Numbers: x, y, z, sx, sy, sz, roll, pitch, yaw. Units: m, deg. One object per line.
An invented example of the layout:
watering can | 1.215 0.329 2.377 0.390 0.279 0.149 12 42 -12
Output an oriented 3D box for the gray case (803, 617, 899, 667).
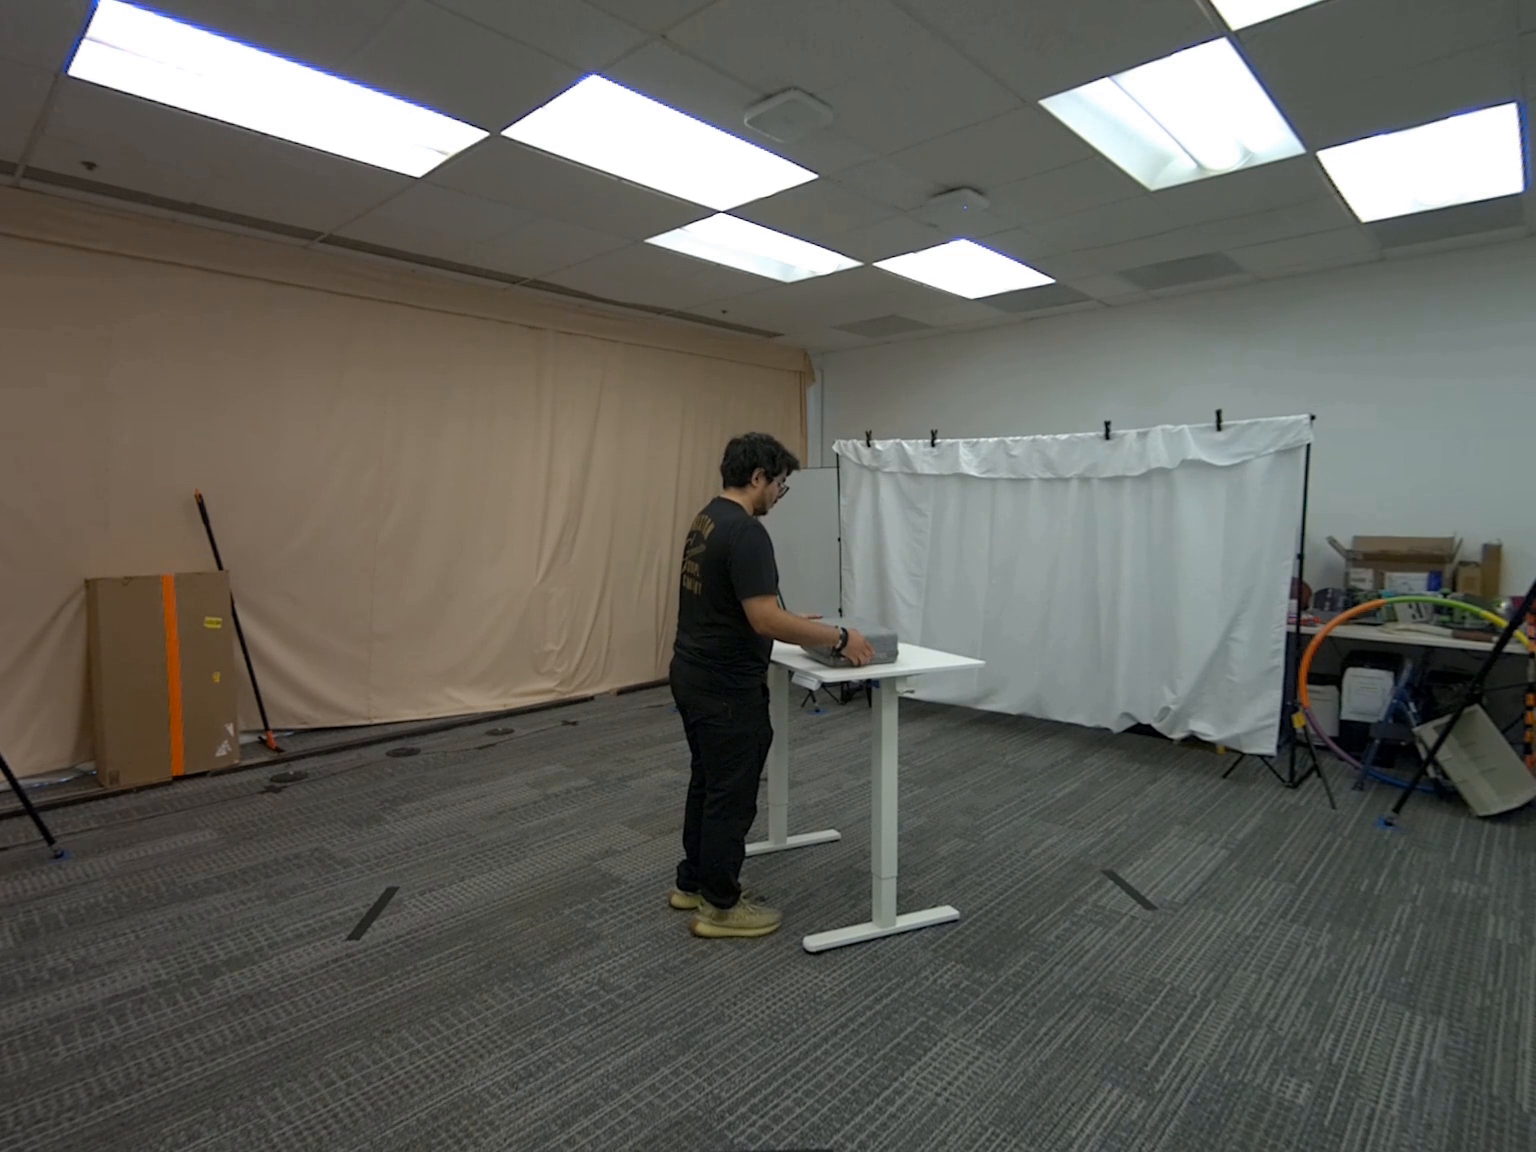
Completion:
gray case | 0.279 0.219 2.734 0.252 0.104 0.266 2 7 -17
